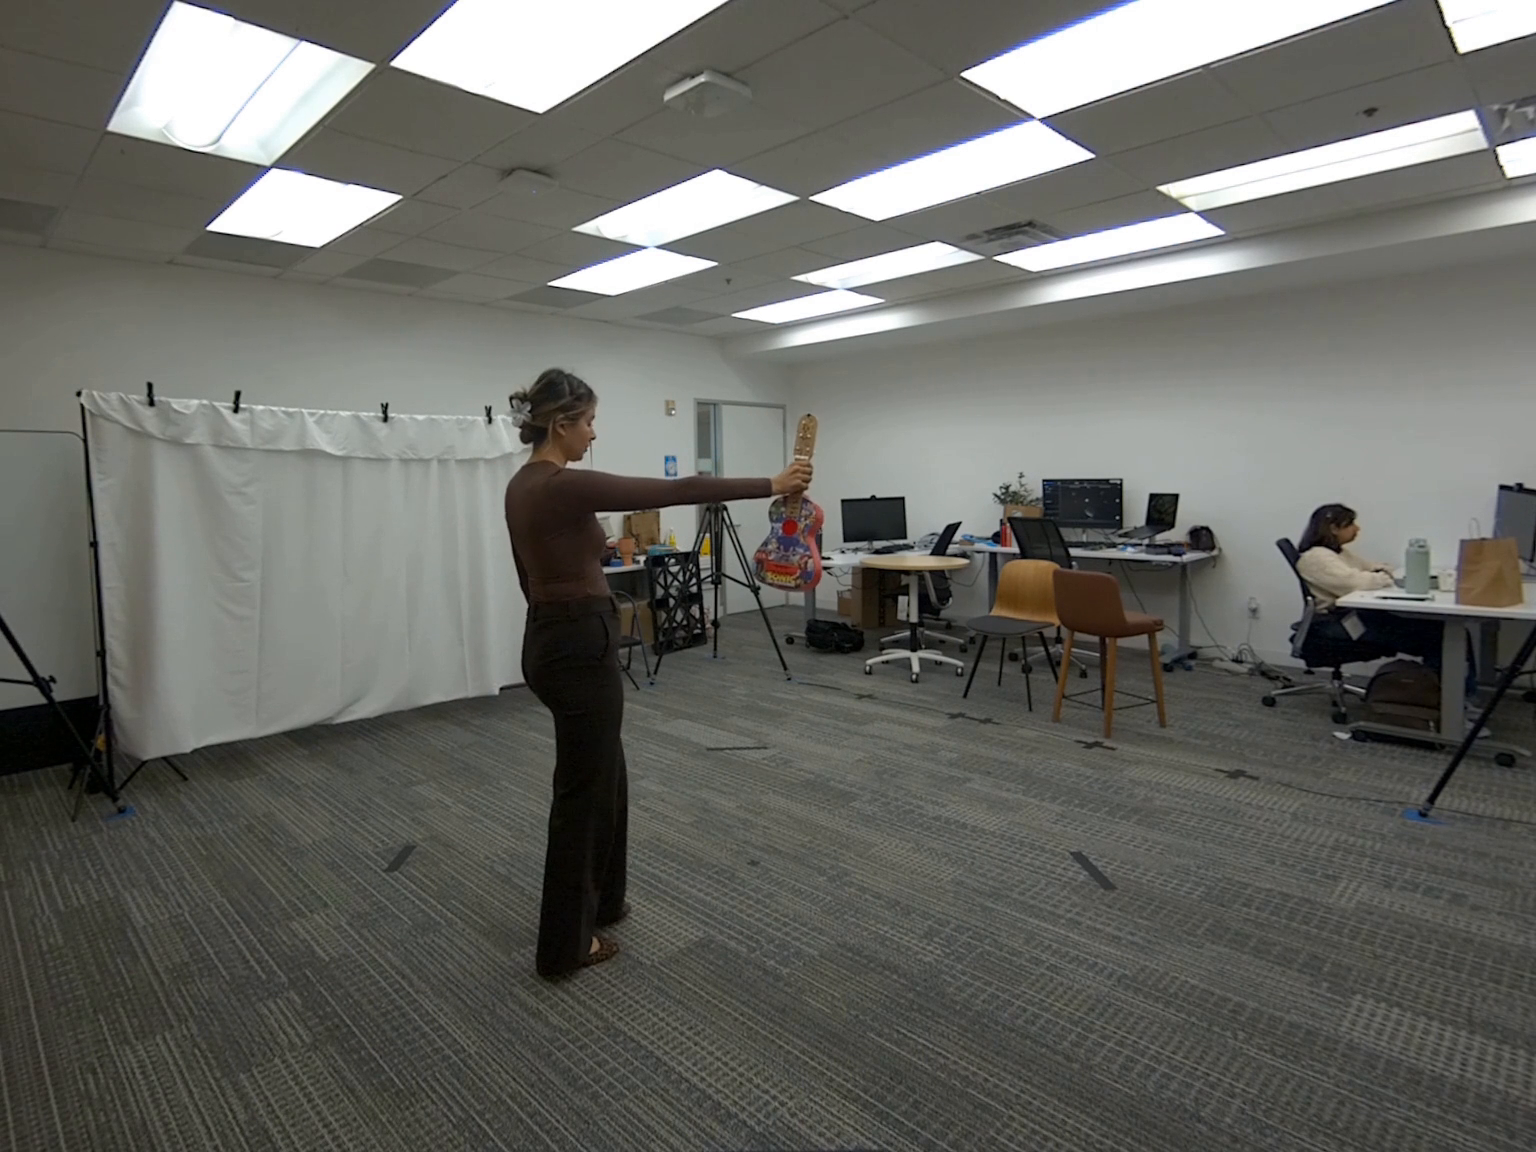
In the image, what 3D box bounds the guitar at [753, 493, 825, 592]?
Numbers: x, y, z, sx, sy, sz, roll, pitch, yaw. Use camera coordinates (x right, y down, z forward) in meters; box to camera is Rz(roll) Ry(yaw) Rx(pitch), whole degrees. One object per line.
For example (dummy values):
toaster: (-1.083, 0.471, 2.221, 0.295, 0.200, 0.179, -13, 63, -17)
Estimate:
guitar: (0.115, -0.201, 2.407, 0.198, 0.497, 0.069, 18, 1, 24)
